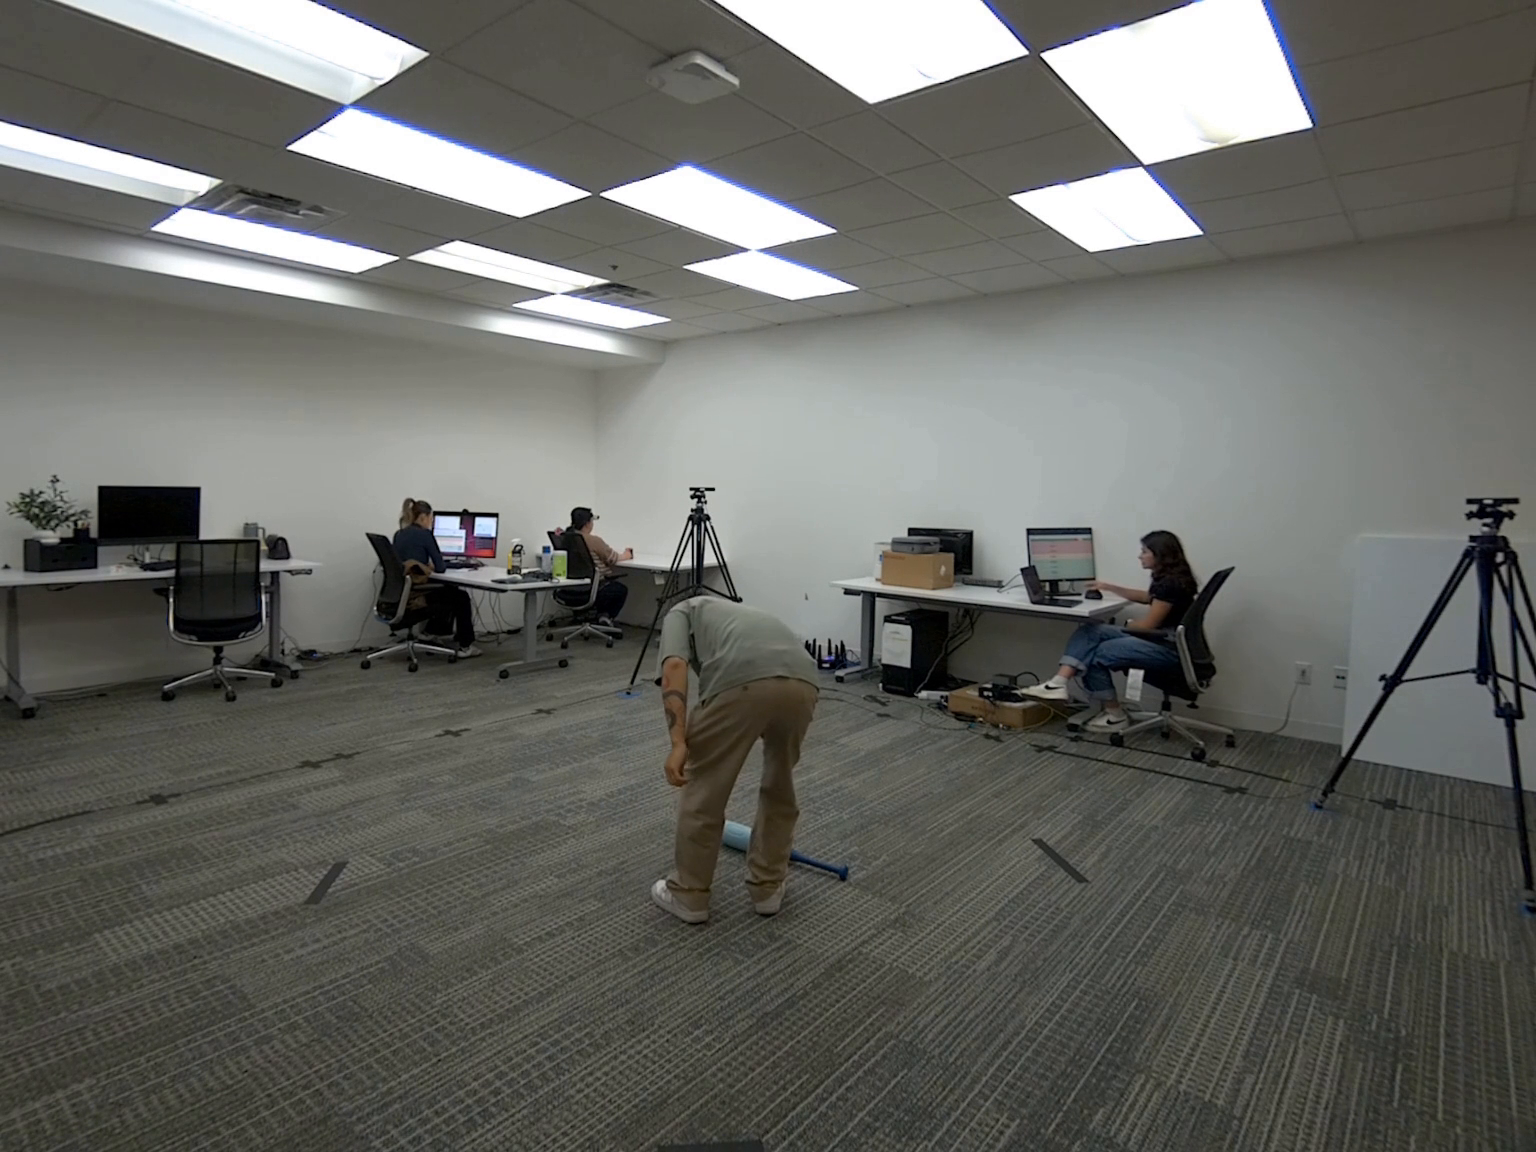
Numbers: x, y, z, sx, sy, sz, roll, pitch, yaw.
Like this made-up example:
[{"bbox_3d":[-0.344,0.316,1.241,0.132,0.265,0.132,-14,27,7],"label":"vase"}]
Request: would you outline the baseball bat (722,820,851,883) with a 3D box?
[{"bbox_3d":[0.037,1.030,3.186,0.561,0.088,0.087,9,8,32],"label":"baseball bat"}]
